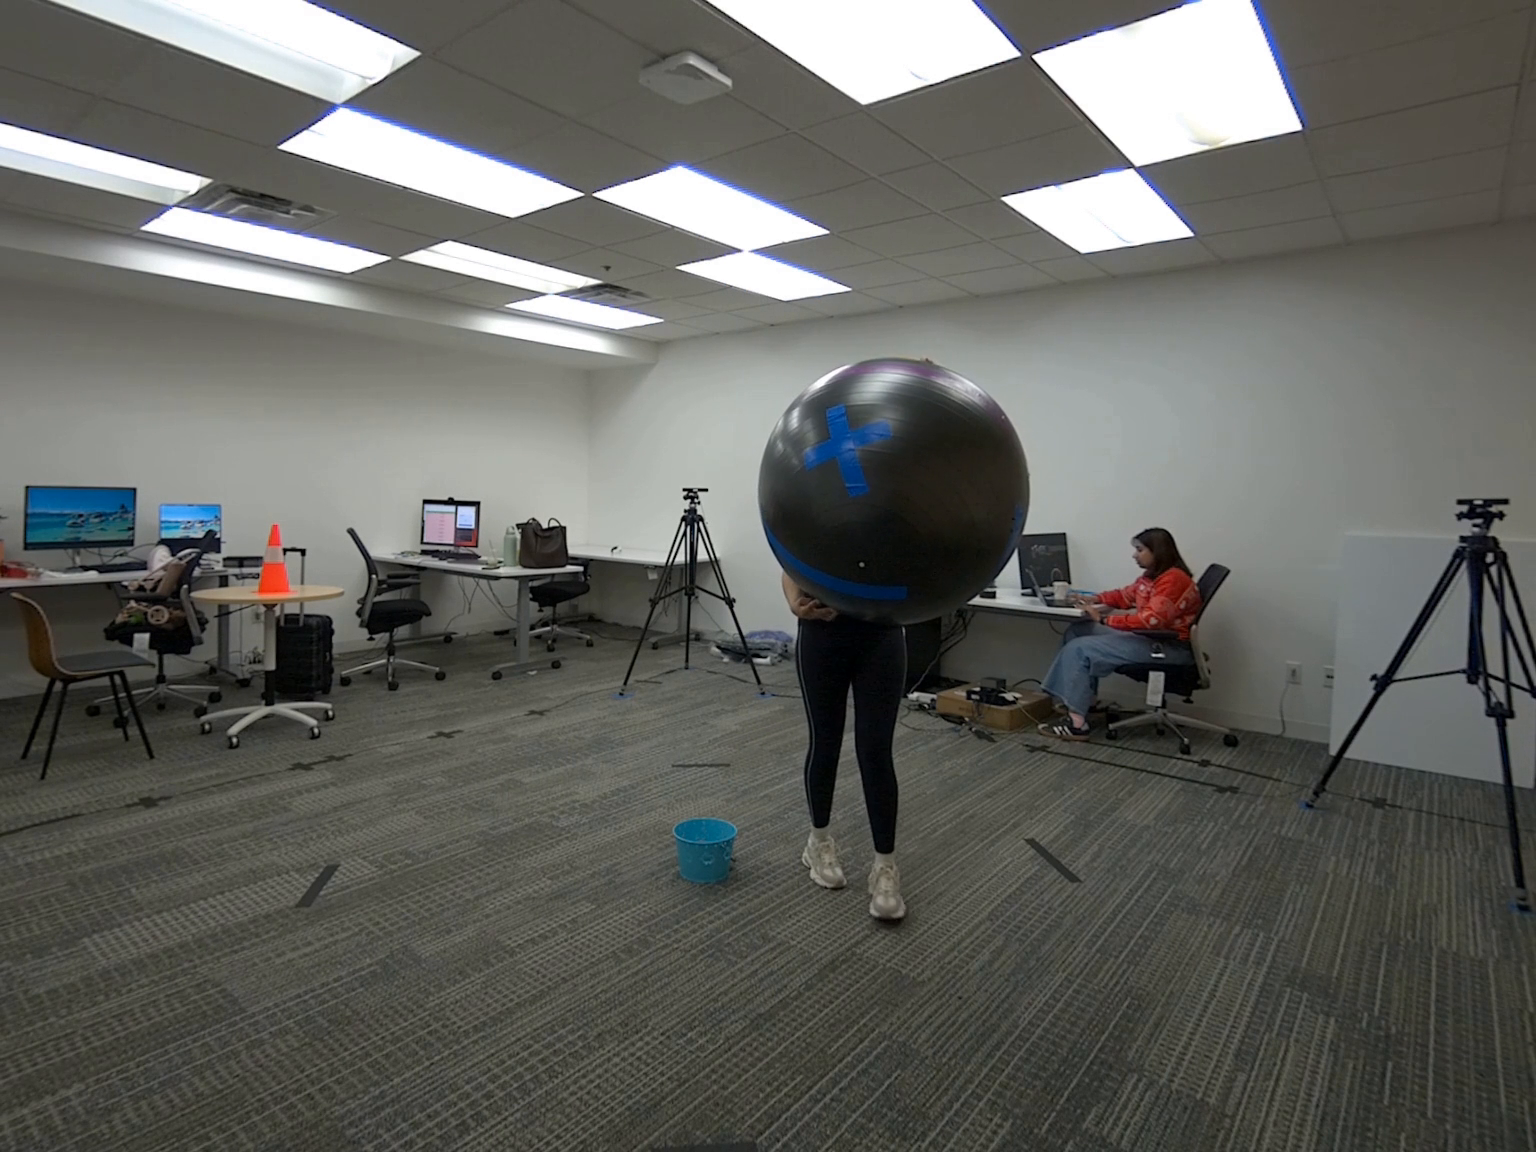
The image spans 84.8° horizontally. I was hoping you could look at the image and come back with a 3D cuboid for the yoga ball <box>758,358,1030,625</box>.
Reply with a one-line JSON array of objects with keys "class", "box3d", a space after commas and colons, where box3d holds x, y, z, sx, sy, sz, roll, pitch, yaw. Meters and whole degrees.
[{"class": "yoga ball", "box3d": [0.348, -0.238, 2.437, 0.757, 0.756, 0.761, 1, 4, -2]}]
